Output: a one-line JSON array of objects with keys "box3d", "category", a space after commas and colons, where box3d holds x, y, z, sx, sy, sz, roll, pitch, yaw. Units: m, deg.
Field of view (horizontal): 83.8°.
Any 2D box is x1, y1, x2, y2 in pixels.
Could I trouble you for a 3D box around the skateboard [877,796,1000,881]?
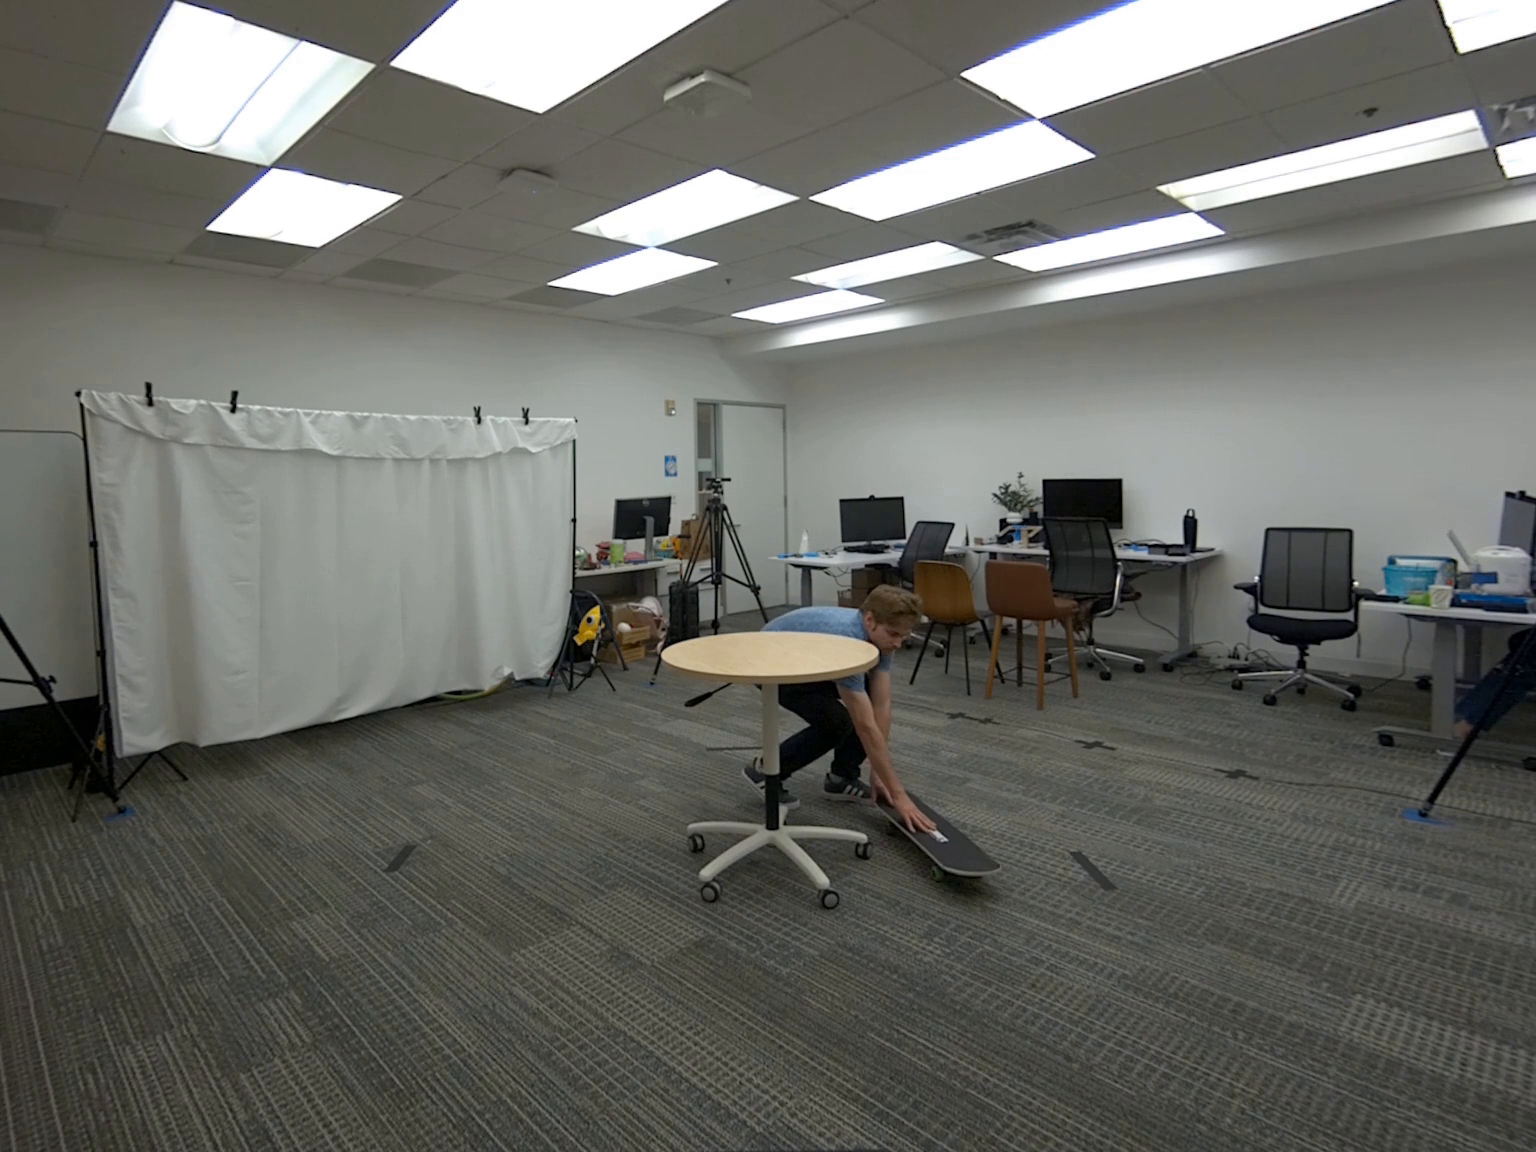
[{"box3d": [0.599, 0.969, 3.157, 0.191, 0.110, 0.799, -3, 7, -15], "category": "skateboard"}]
